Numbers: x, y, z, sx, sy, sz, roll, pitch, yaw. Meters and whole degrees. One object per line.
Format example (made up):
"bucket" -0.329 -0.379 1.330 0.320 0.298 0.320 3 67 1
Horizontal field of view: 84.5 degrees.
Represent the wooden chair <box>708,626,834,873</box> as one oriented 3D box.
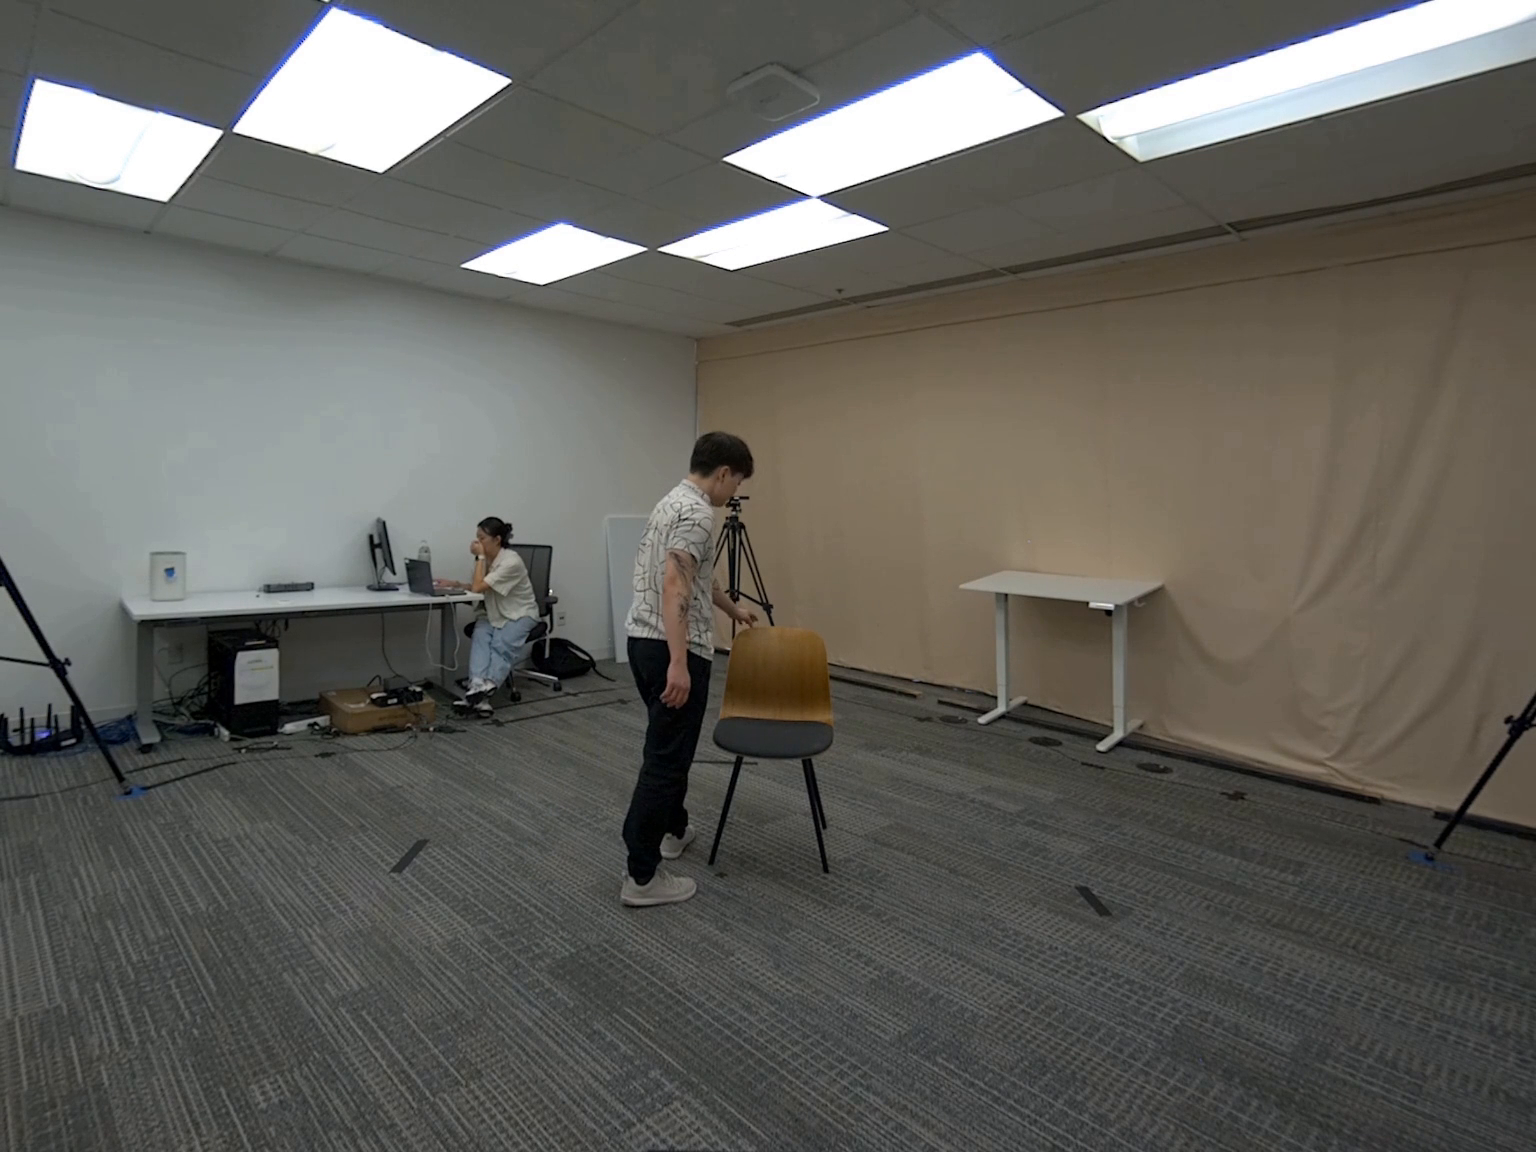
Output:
"wooden chair" 0.023 0.657 3.344 0.480 0.878 0.520 2 -1 4
